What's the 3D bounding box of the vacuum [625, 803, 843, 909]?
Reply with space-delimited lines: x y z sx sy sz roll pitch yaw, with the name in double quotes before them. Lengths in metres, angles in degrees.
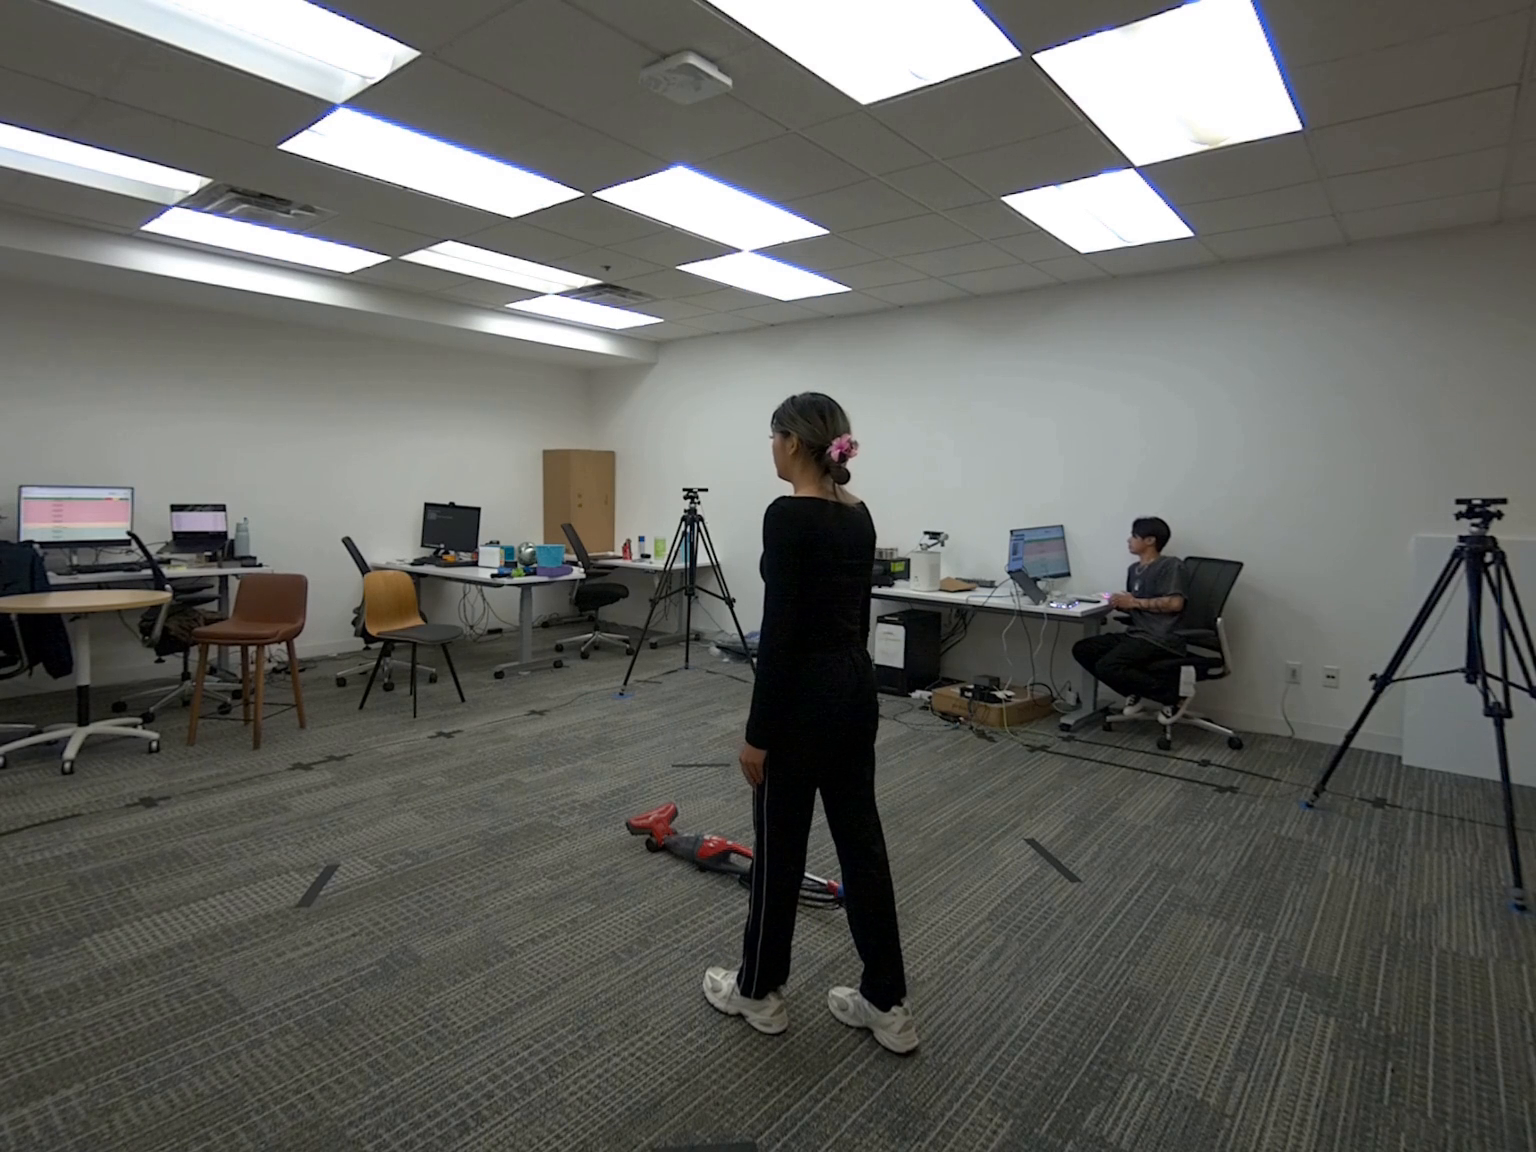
"vacuum" -0.047 1.033 2.972 1.086 0.143 0.245 7 10 41
